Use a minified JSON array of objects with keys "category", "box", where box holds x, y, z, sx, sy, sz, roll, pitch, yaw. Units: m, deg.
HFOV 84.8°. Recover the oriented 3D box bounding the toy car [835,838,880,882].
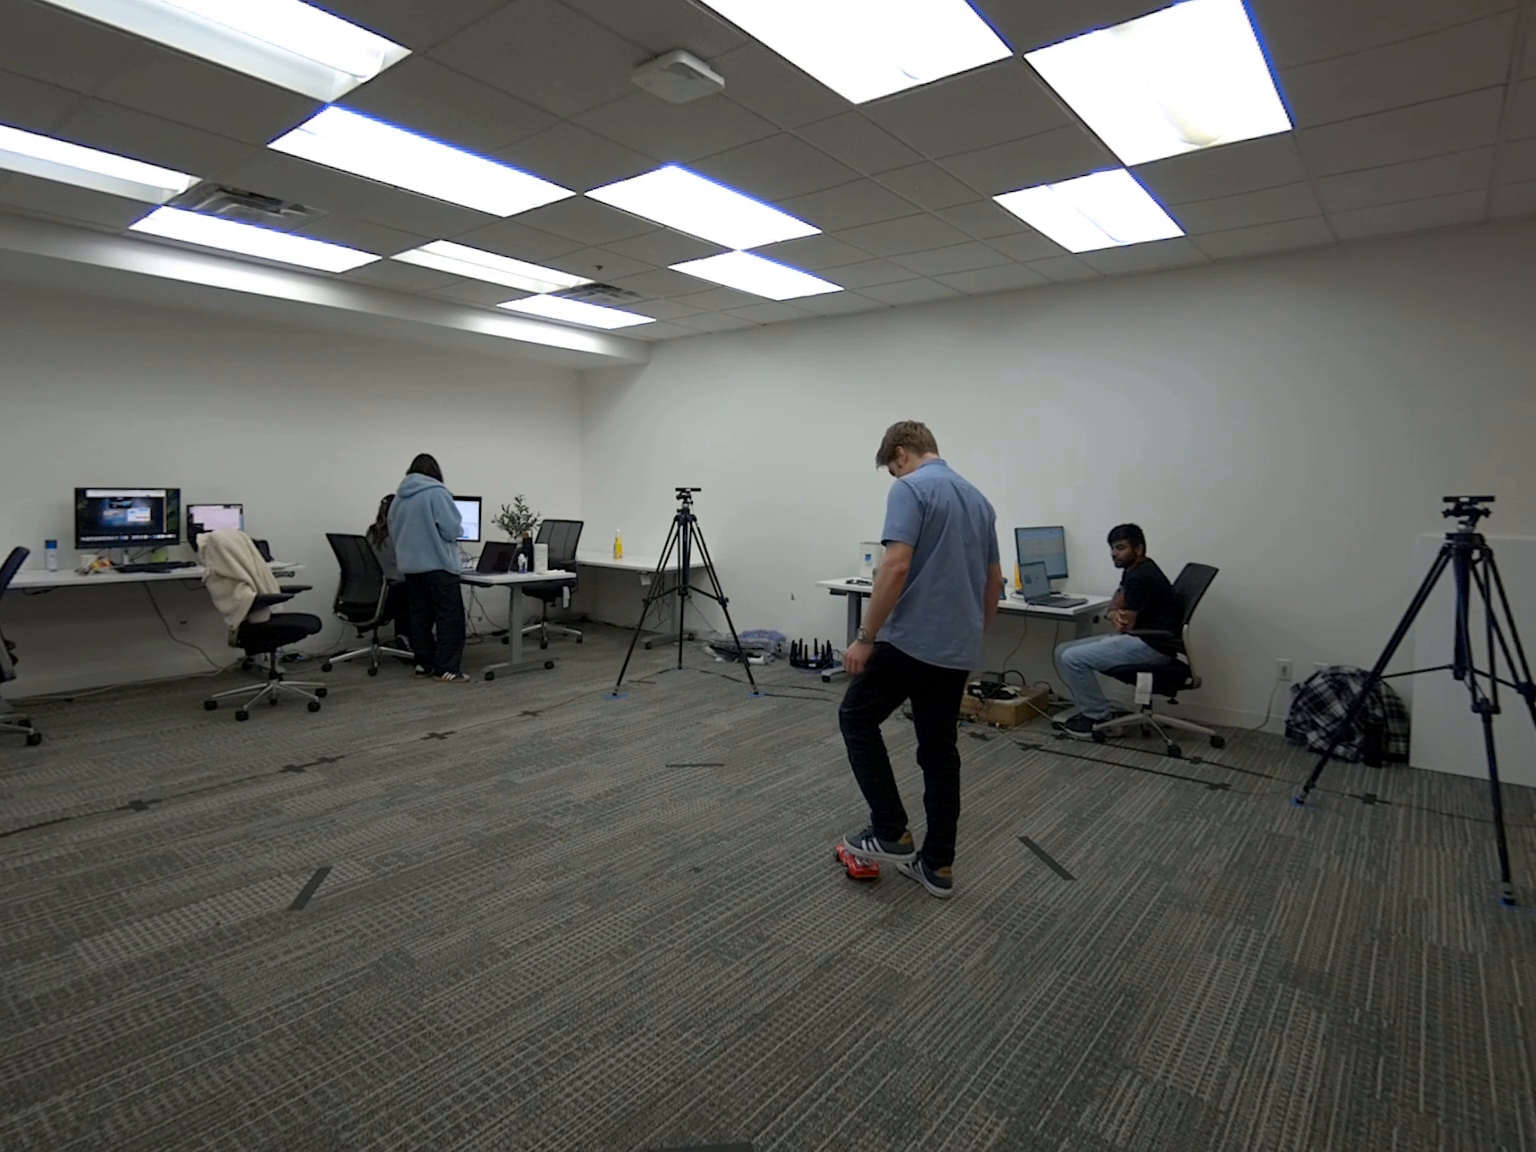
[{"category":"toy car","box":[0.322,1.042,3.125,0.129,0.084,0.255,0,-5,-11]}]
